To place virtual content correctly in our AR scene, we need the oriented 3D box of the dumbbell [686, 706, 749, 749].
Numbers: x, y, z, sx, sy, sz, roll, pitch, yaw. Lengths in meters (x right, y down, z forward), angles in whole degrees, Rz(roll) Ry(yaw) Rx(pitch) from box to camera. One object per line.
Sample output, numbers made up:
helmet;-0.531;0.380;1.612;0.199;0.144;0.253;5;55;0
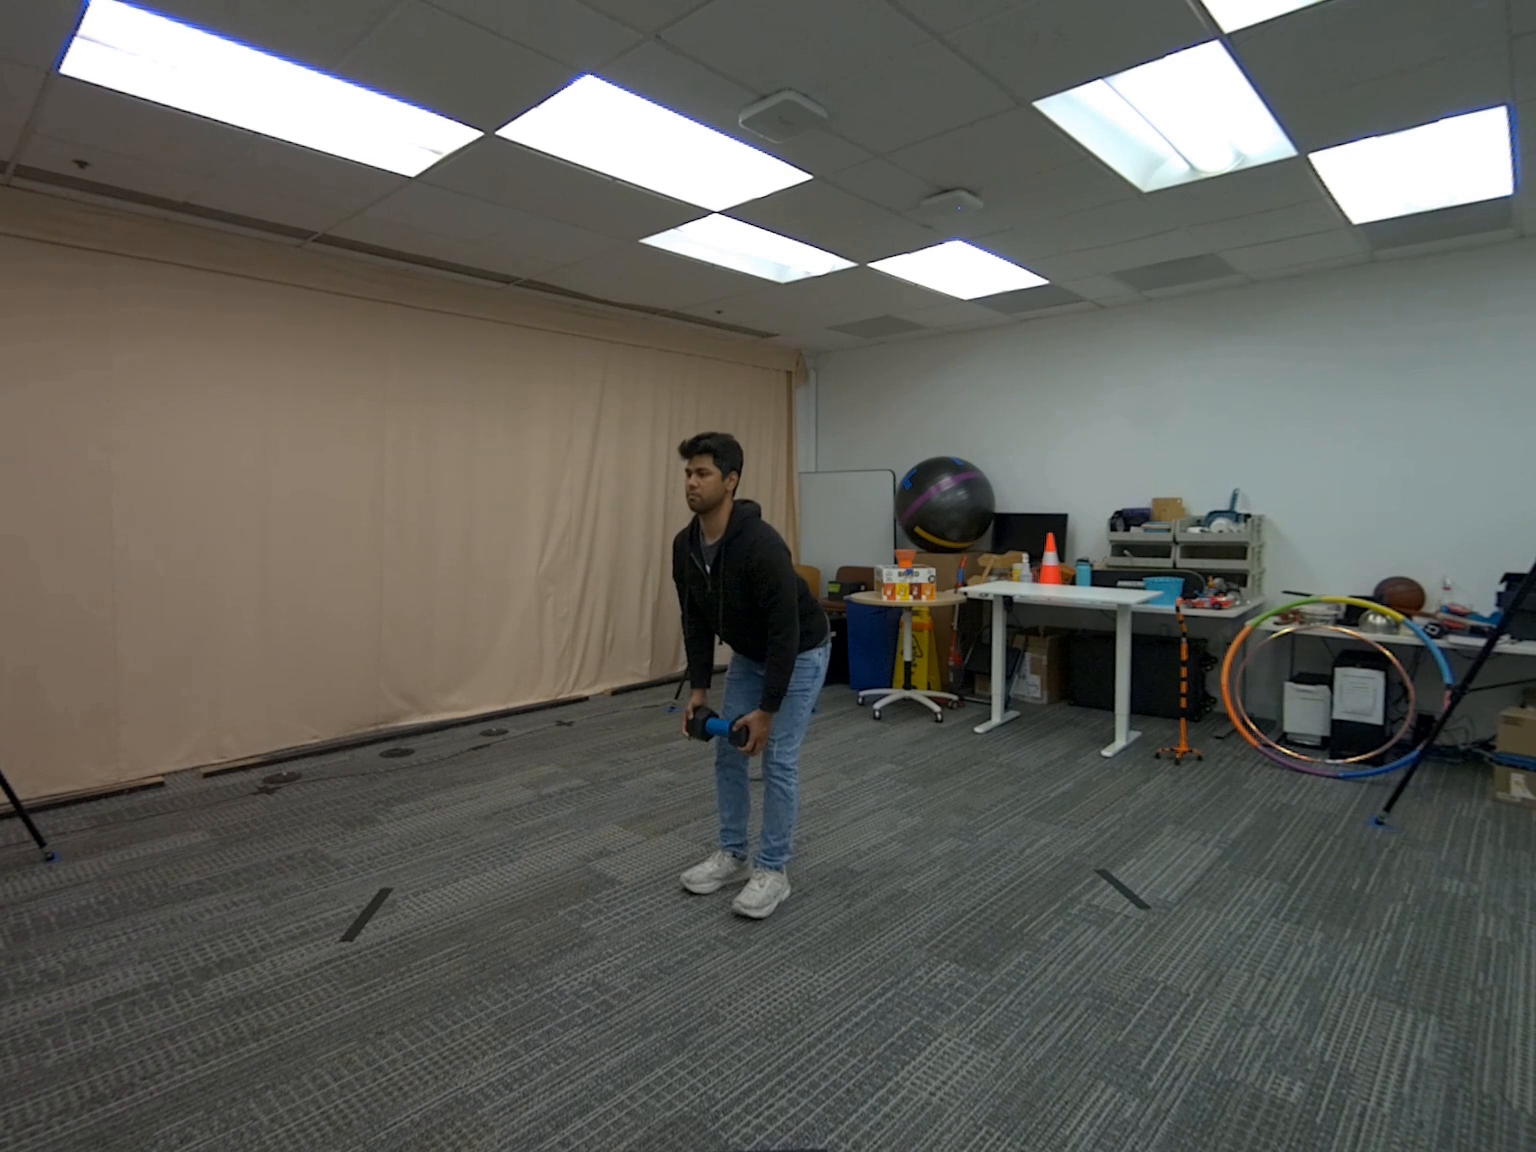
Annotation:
dumbbell;-0.139;0.539;2.937;0.303;0.109;0.118;1;-29;45
